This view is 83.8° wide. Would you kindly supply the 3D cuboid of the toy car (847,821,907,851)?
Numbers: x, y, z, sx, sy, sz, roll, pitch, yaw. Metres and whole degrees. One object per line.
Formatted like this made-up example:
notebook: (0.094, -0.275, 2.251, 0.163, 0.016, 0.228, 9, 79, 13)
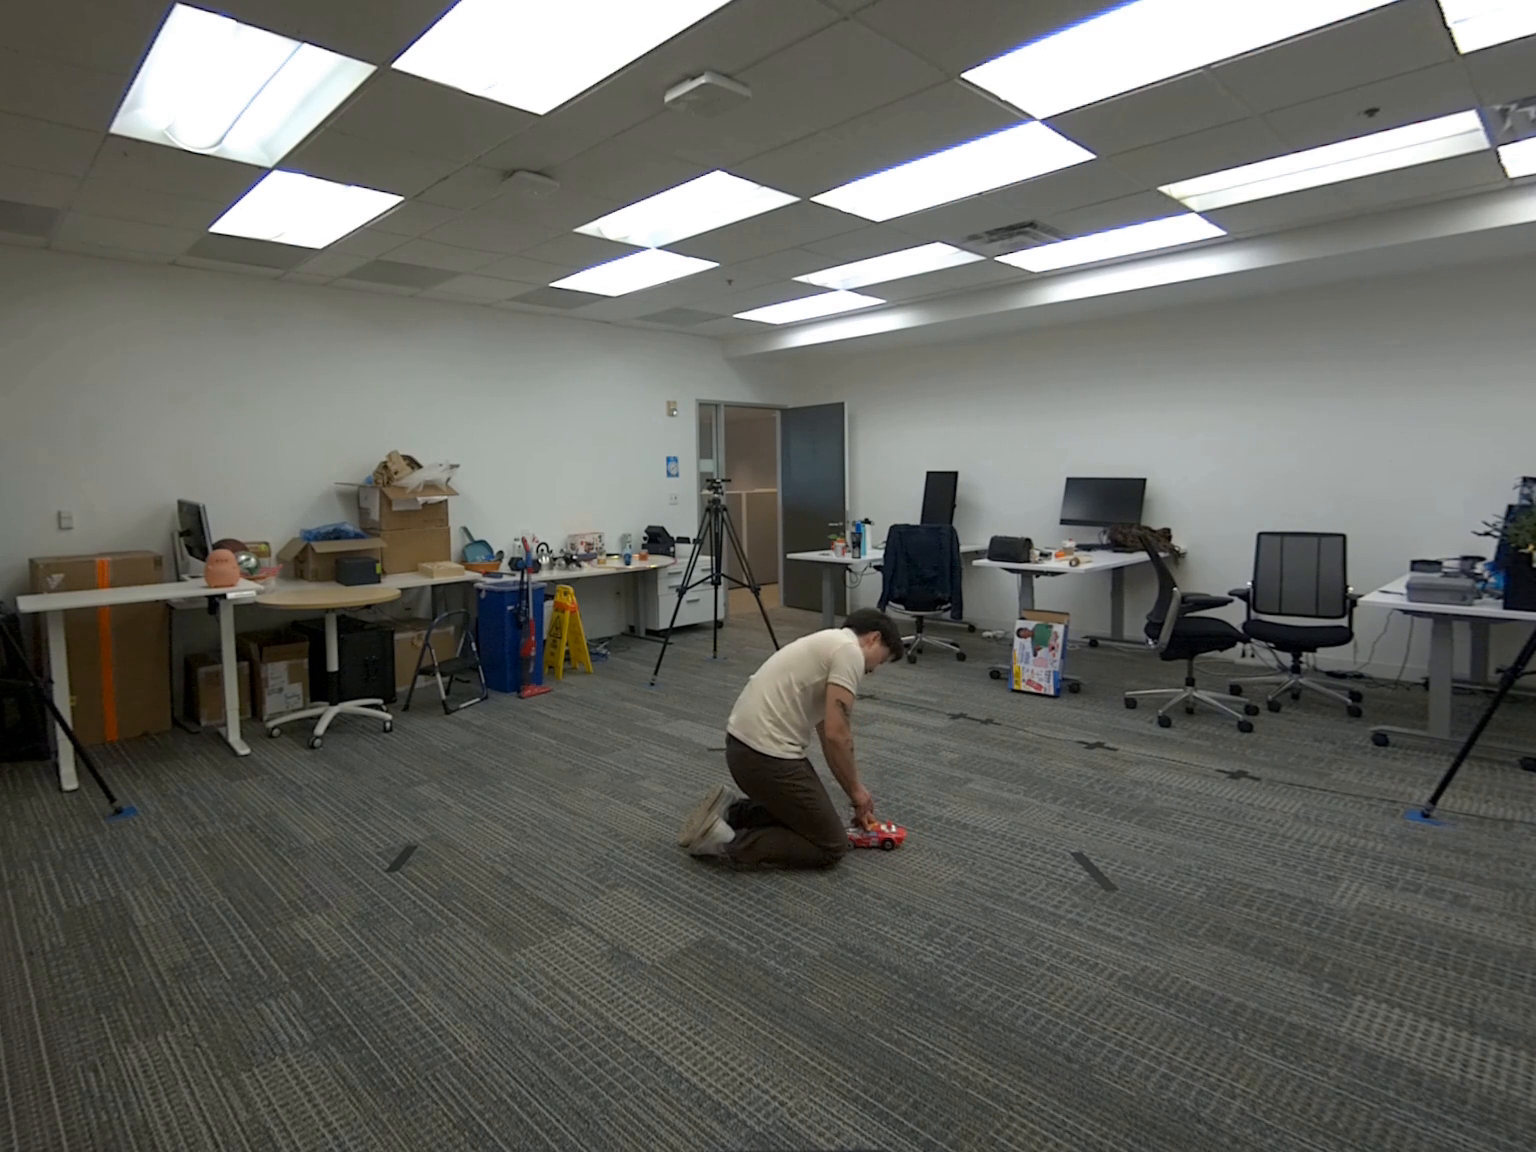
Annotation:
toy car: (0.401, 0.984, 3.235, 0.256, 0.083, 0.130, -13, 6, 5)
